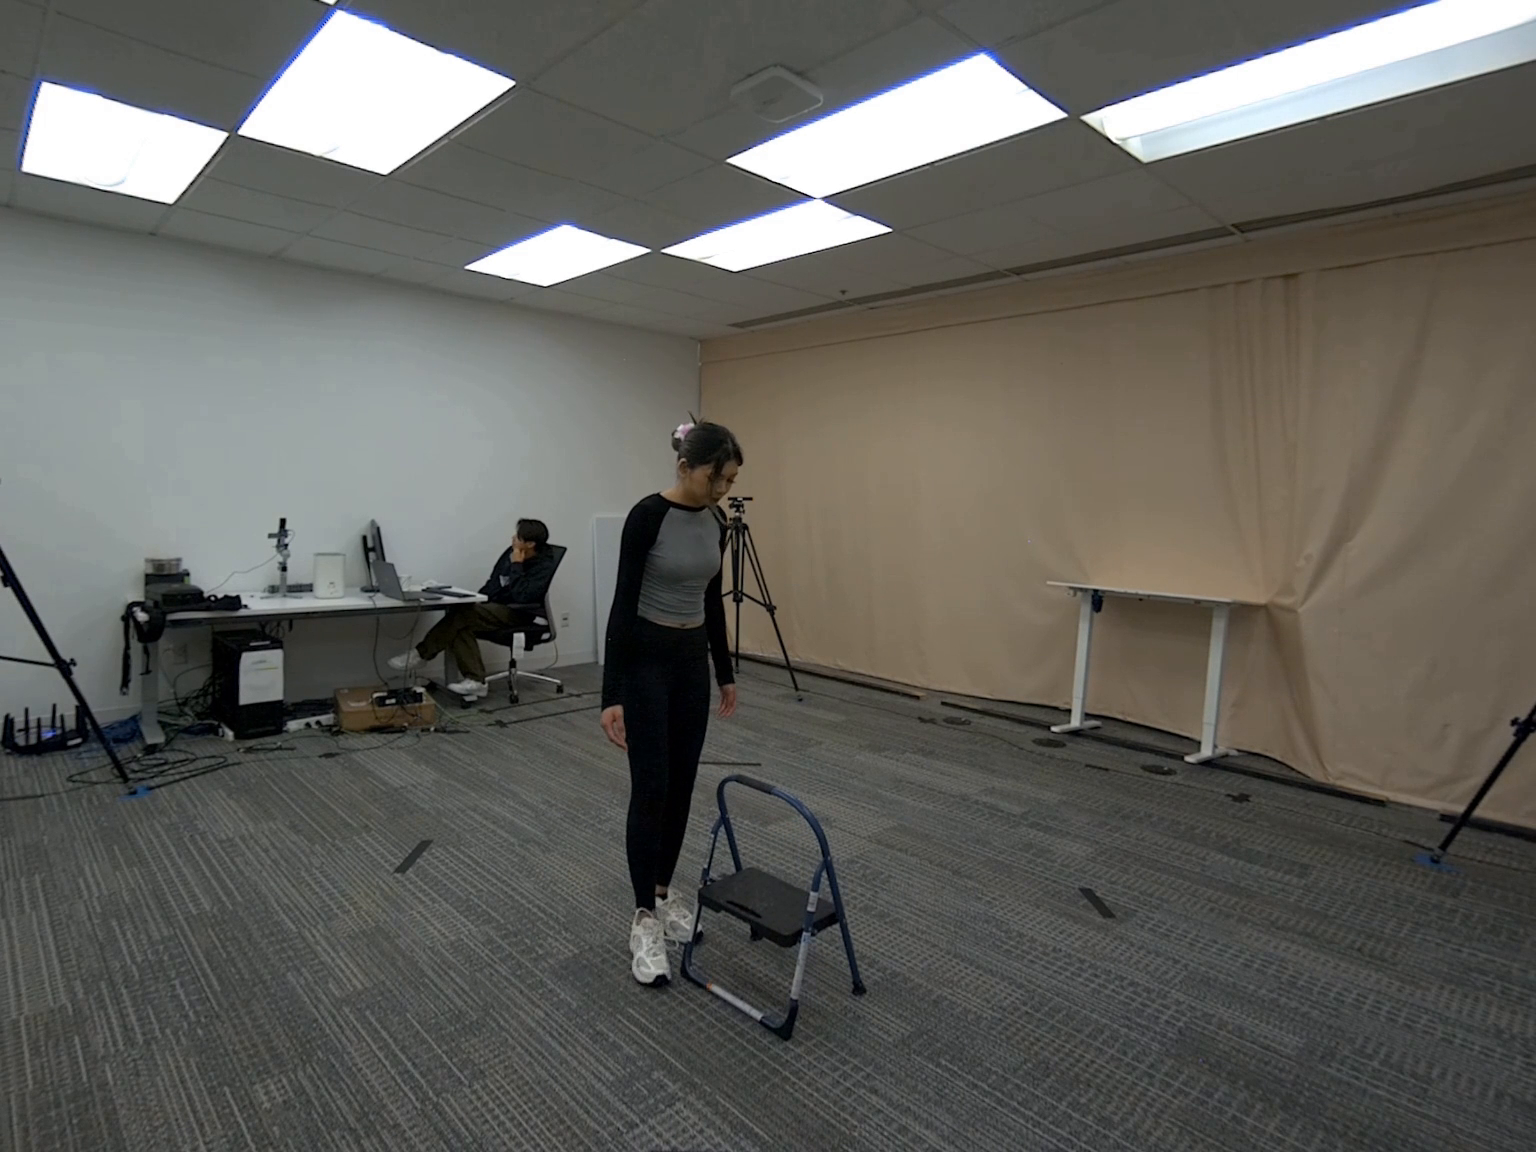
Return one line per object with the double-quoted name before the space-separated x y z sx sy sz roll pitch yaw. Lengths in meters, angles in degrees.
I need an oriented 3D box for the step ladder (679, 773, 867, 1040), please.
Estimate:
"step ladder" 0.014 0.875 2.402 0.441 0.604 0.341 5 5 42
